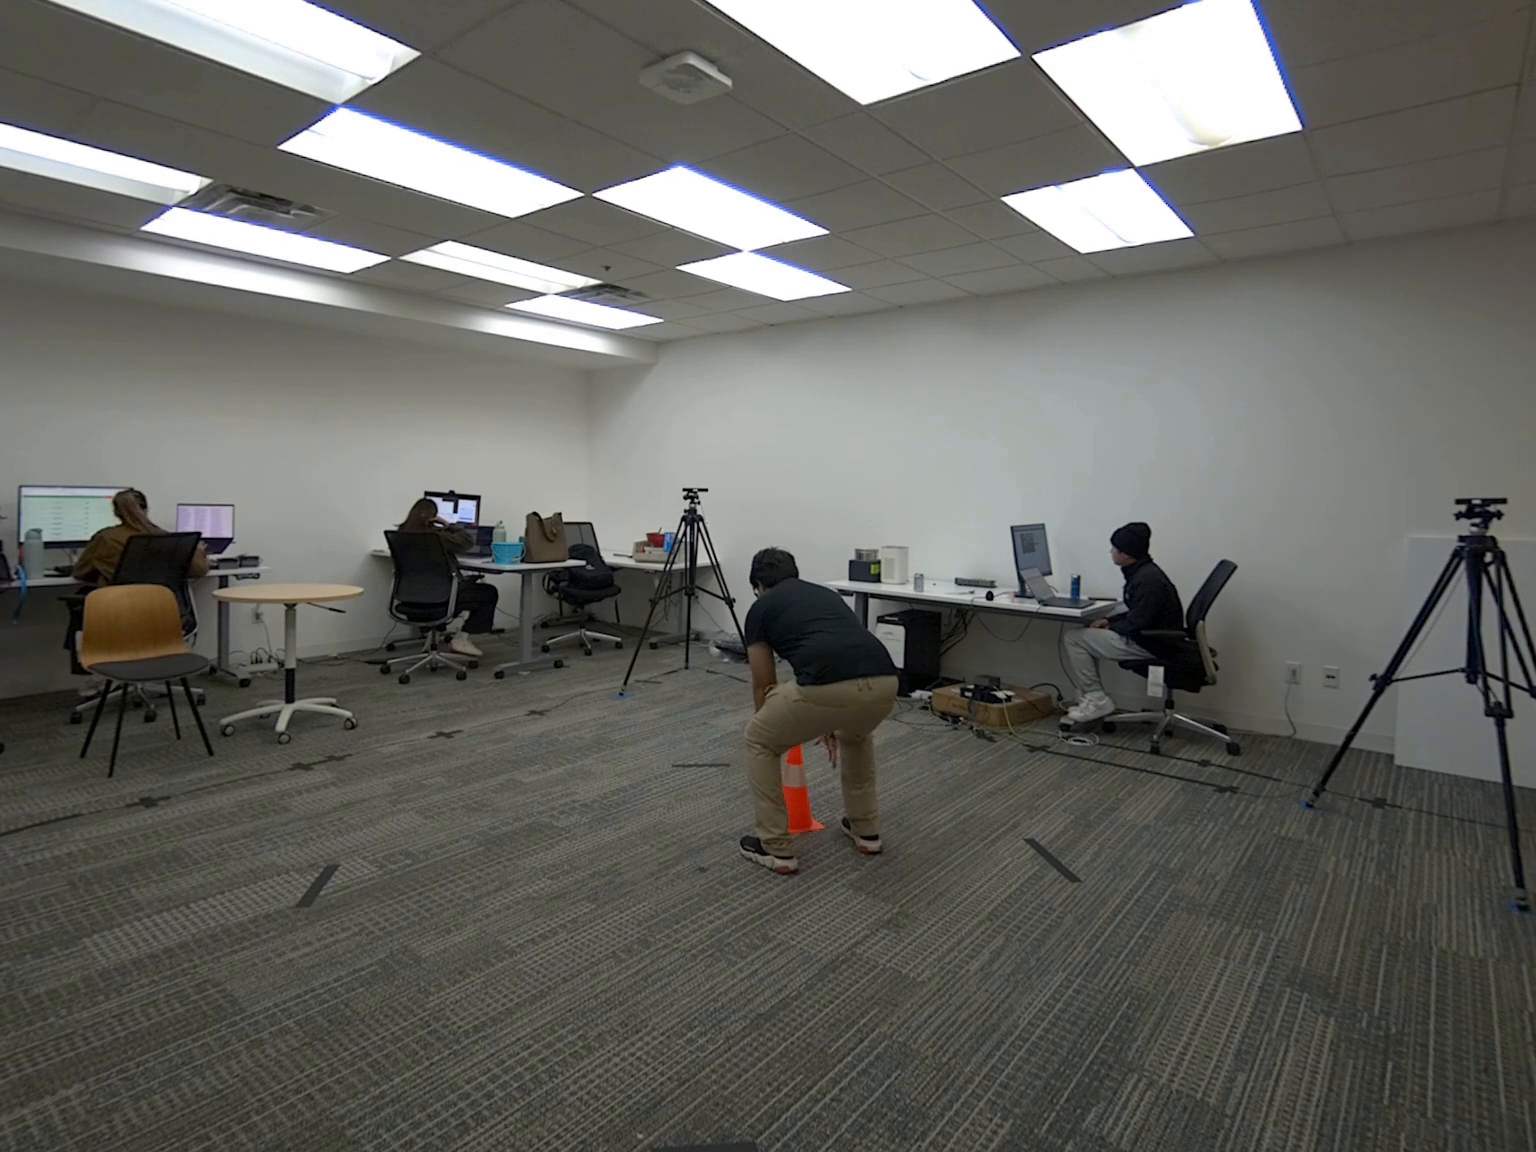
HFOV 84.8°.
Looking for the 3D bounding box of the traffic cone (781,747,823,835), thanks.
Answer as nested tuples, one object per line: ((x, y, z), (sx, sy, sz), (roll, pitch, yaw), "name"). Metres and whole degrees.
((0.094, 0.848, 3.565), (0.201, 0.383, 0.207), (-2, 1, -18), "traffic cone")
